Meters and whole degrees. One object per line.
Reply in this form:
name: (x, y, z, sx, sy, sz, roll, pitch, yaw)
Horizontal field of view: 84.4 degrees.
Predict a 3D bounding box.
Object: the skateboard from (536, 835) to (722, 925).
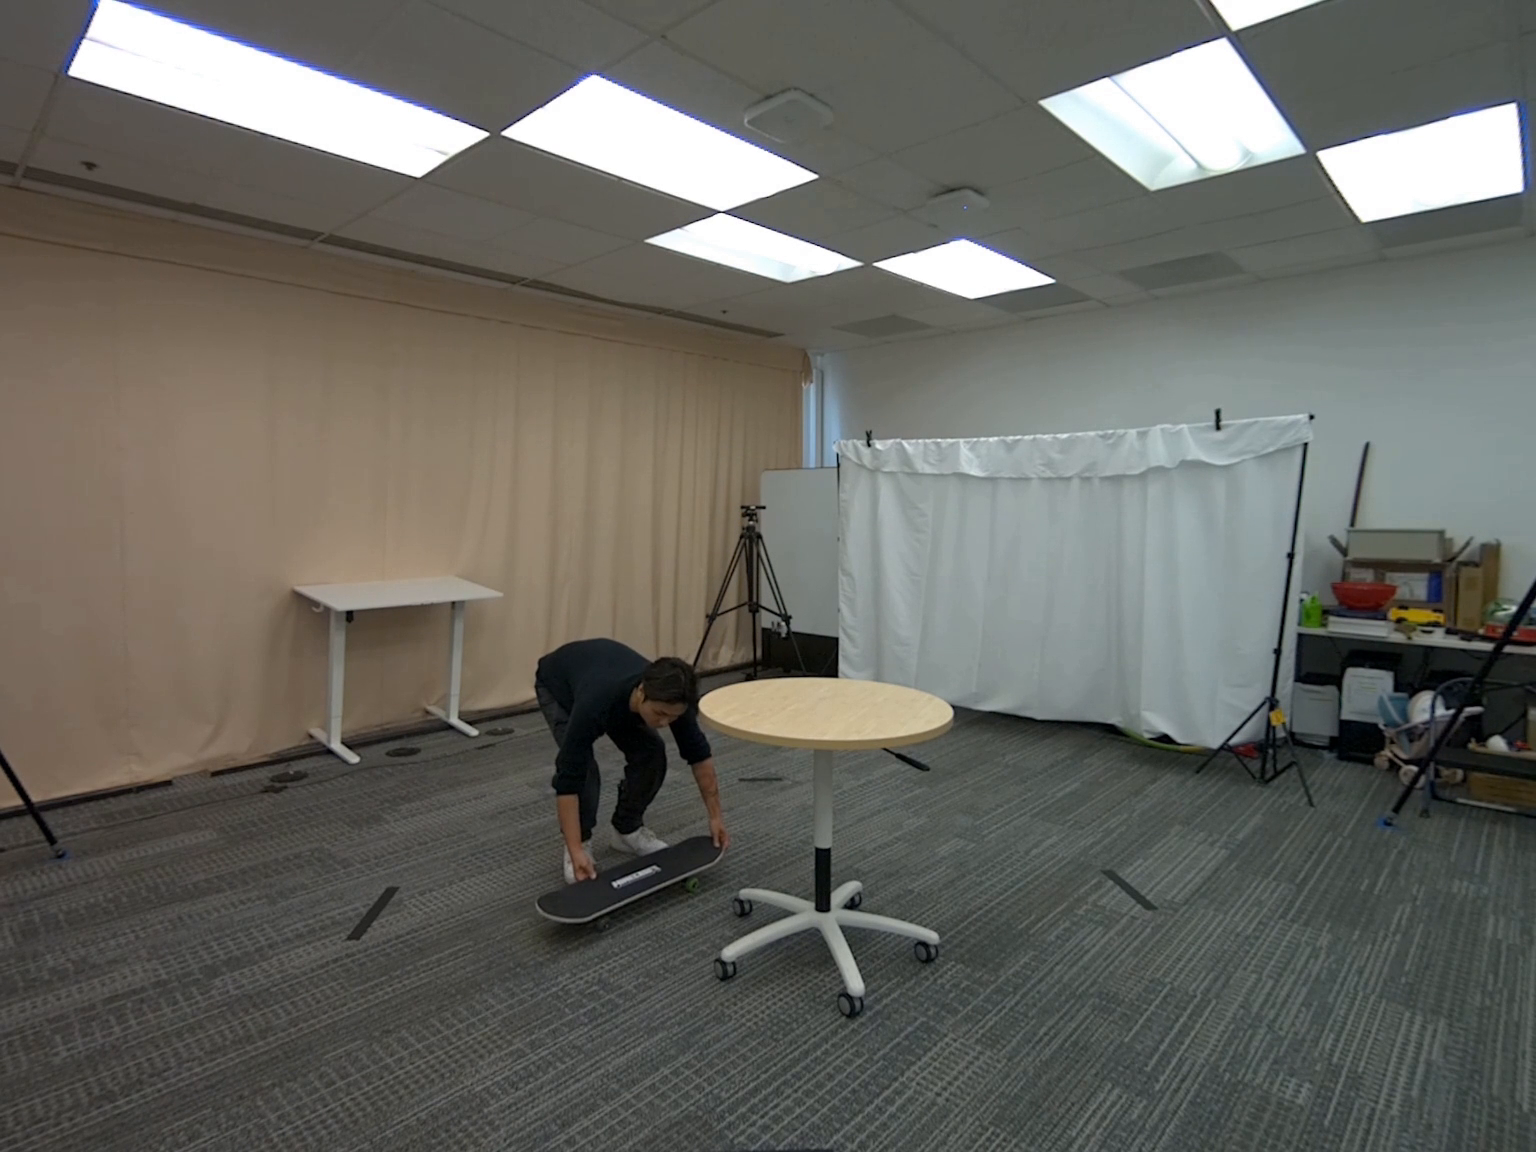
skateboard: (-0.468, 1.087, 2.944, 0.200, 0.110, 0.761, 12, 12, 43)
